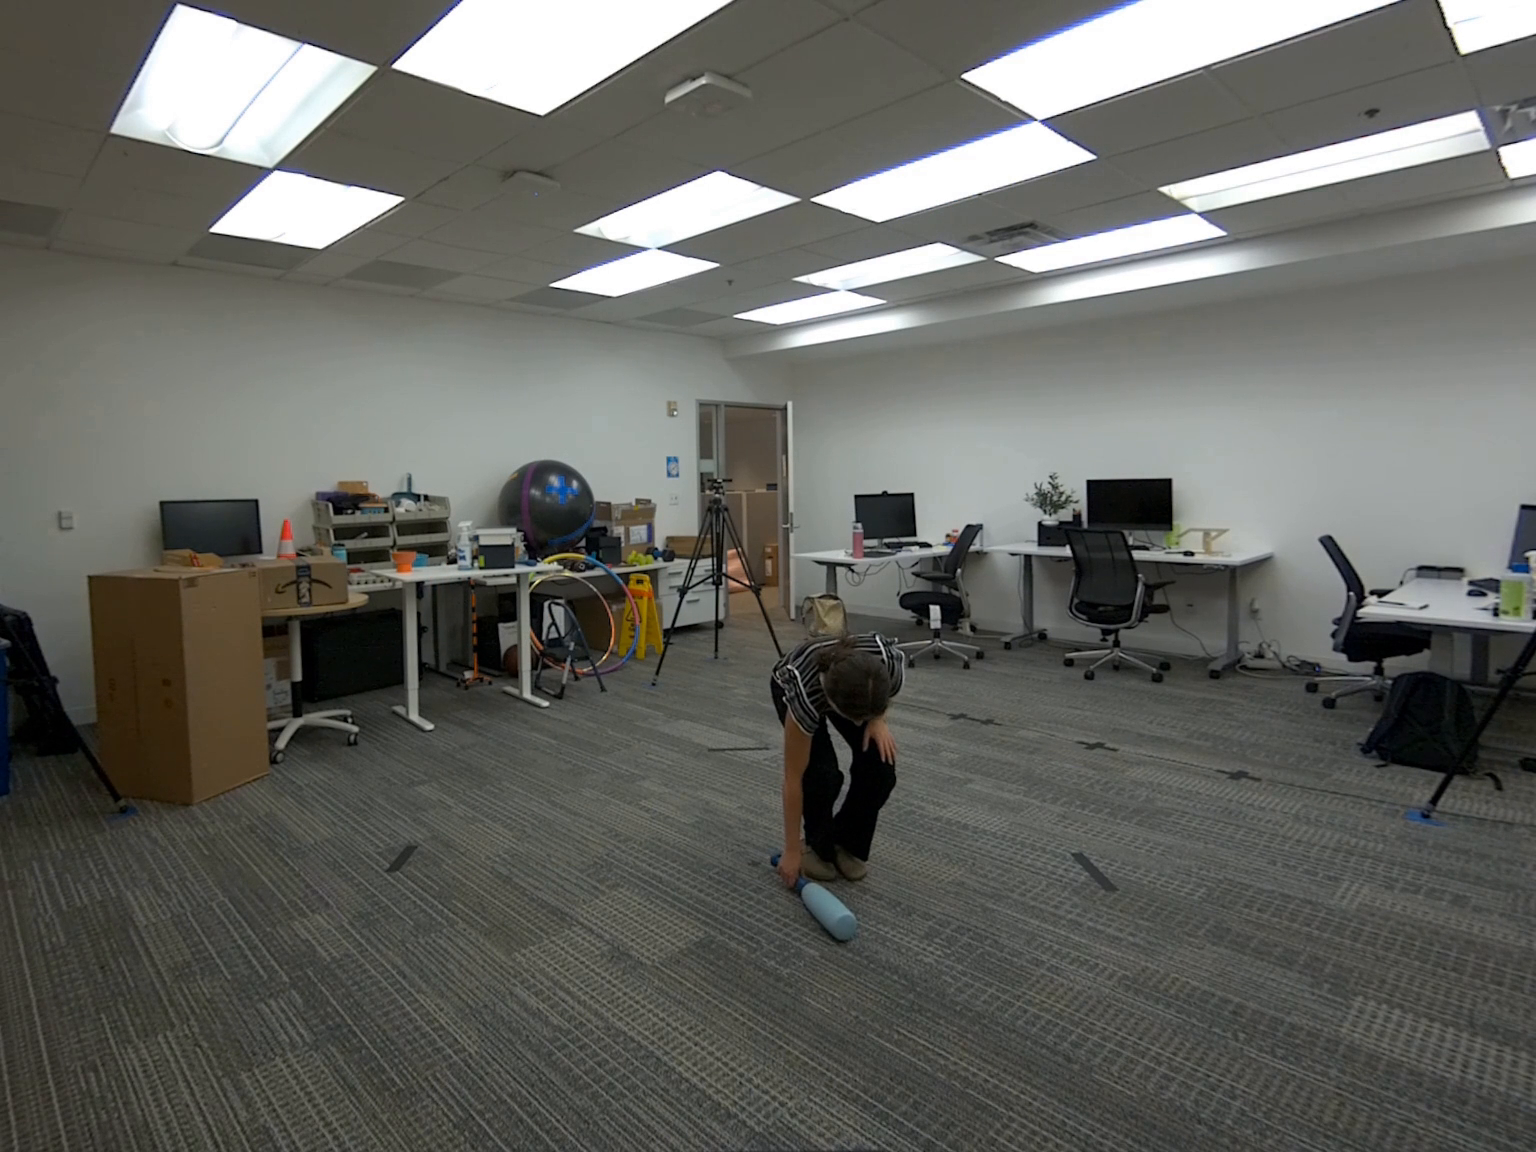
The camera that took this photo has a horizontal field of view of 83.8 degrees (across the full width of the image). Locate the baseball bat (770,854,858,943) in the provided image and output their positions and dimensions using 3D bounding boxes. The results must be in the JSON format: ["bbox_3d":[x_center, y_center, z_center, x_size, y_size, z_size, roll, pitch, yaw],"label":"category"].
[{"bbox_3d":[0.137,1.036,2.813,0.087,0.089,0.554,-3,5,-21],"label":"baseball bat"}]
